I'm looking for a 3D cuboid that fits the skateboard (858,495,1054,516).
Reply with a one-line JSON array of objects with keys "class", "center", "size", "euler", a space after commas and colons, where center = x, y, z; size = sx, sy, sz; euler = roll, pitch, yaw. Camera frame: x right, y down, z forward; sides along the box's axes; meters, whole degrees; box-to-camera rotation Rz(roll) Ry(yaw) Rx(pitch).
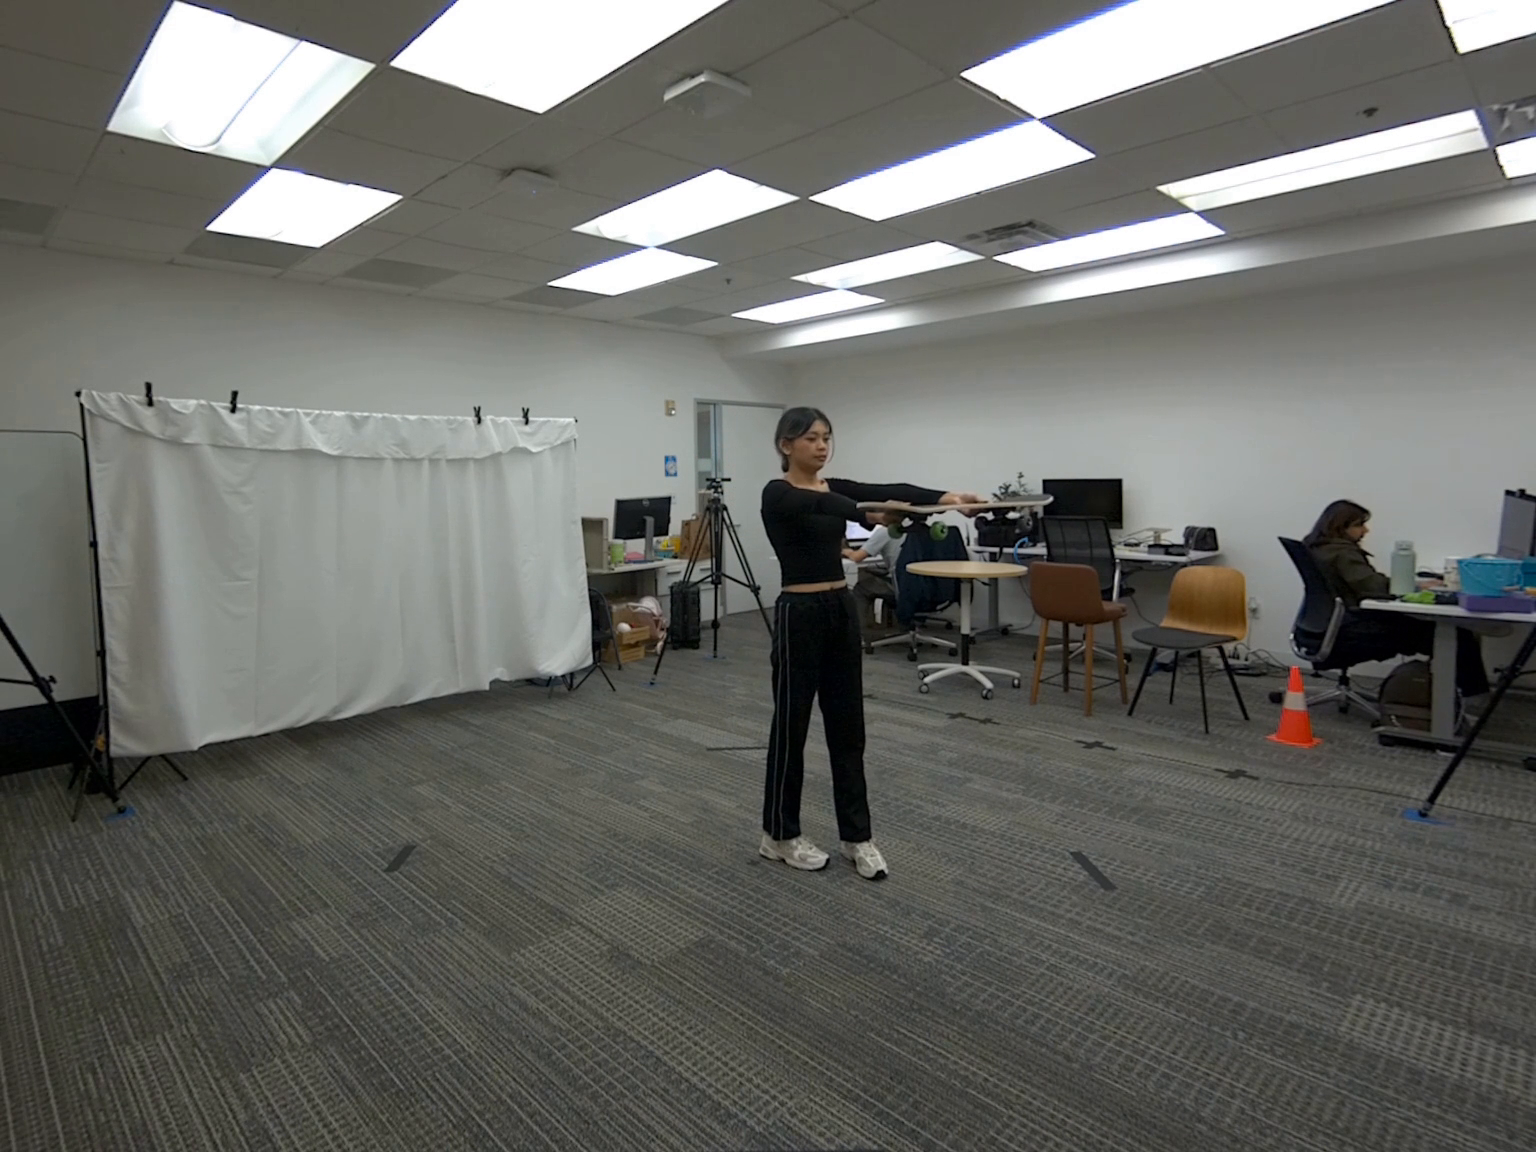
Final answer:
[{"class": "skateboard", "center": [0.564, -0.176, 2.507], "size": [0.765, 0.110, 0.199], "euler": [-6, 5, -38]}]
